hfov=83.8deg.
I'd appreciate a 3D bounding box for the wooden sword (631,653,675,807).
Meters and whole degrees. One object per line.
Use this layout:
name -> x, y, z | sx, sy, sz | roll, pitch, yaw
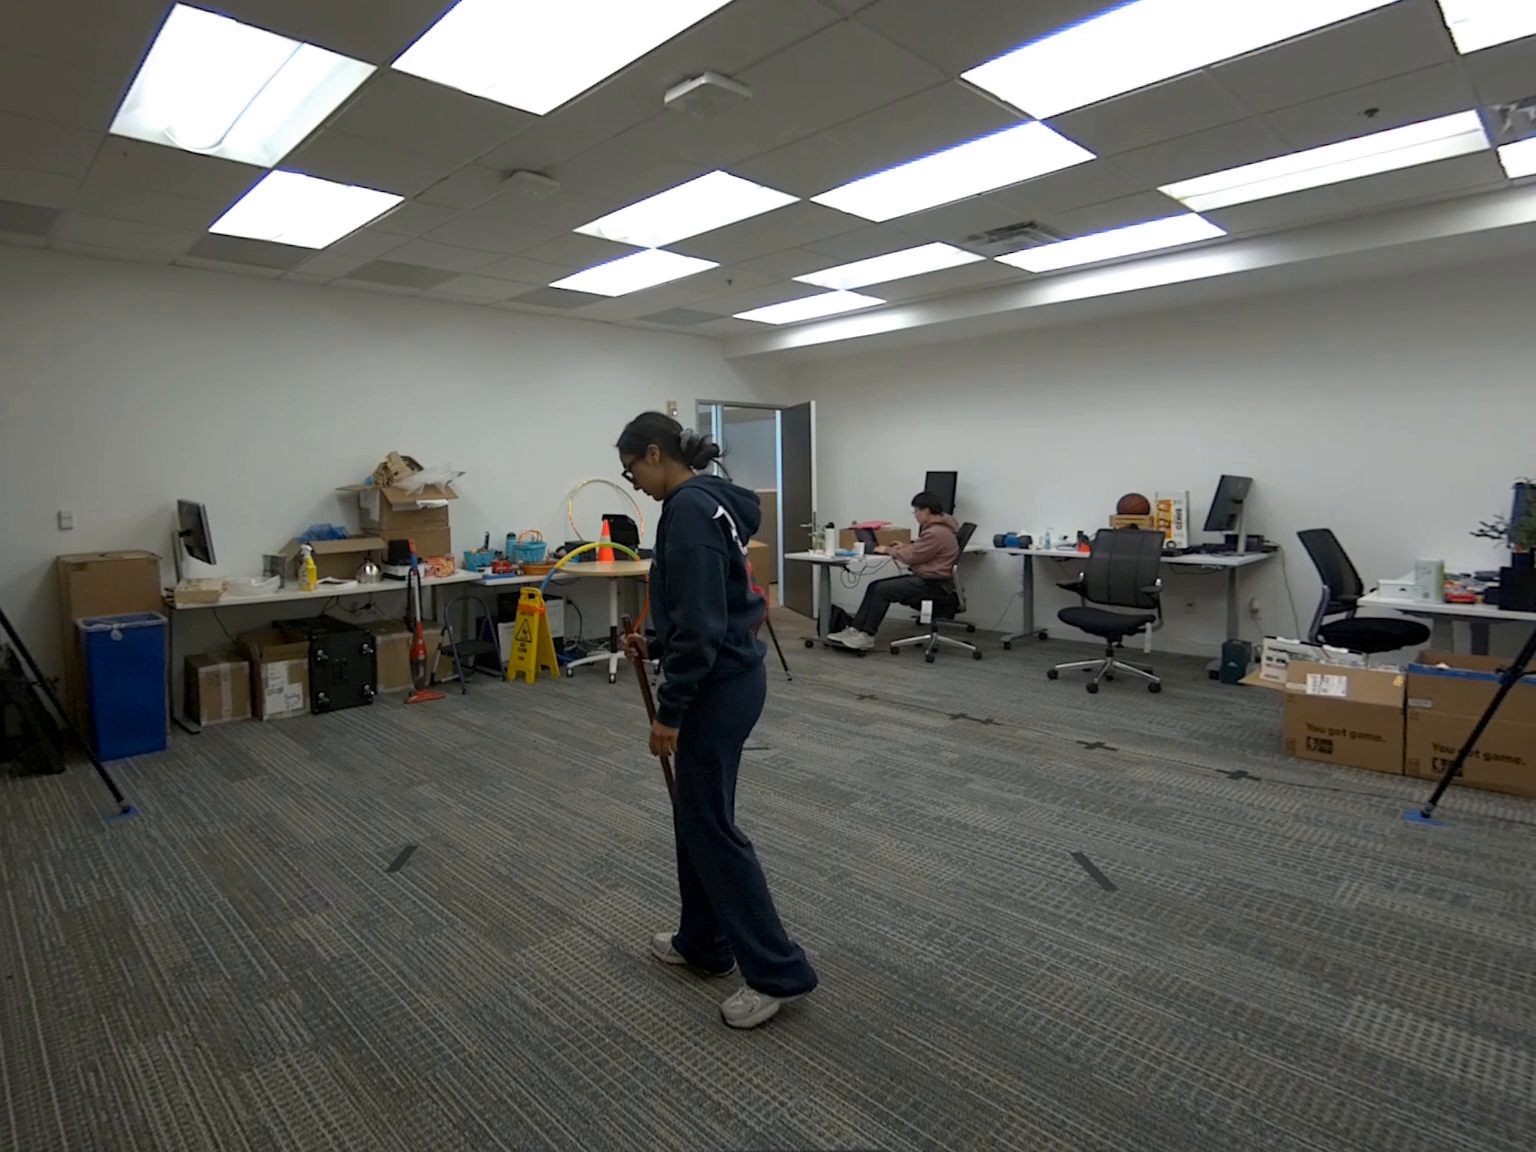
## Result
wooden sword -> -0.302, 0.619, 2.610 | 0.052, 1.013, 0.024 | -10, 10, 20
